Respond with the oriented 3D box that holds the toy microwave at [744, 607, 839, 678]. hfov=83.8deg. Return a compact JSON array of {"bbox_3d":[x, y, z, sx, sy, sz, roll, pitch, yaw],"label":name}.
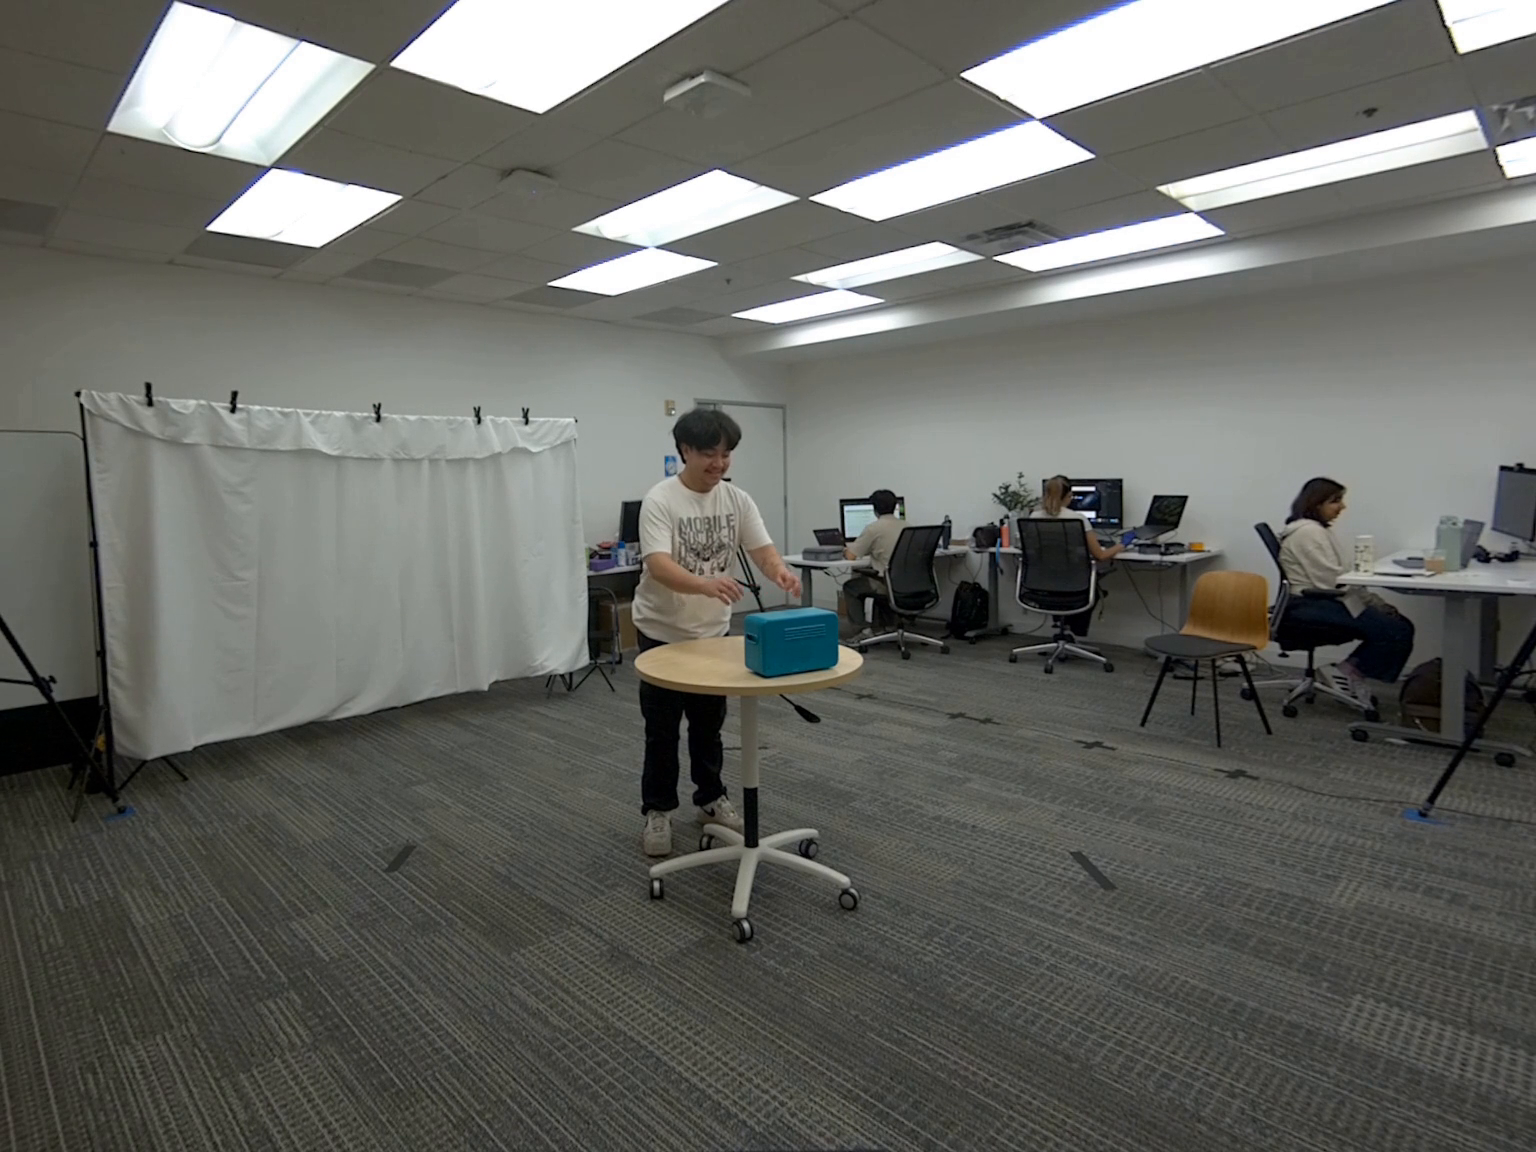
[{"bbox_3d":[0.074,0.204,2.698,0.280,0.183,0.156,-5,6,-28],"label":"toy microwave"}]
